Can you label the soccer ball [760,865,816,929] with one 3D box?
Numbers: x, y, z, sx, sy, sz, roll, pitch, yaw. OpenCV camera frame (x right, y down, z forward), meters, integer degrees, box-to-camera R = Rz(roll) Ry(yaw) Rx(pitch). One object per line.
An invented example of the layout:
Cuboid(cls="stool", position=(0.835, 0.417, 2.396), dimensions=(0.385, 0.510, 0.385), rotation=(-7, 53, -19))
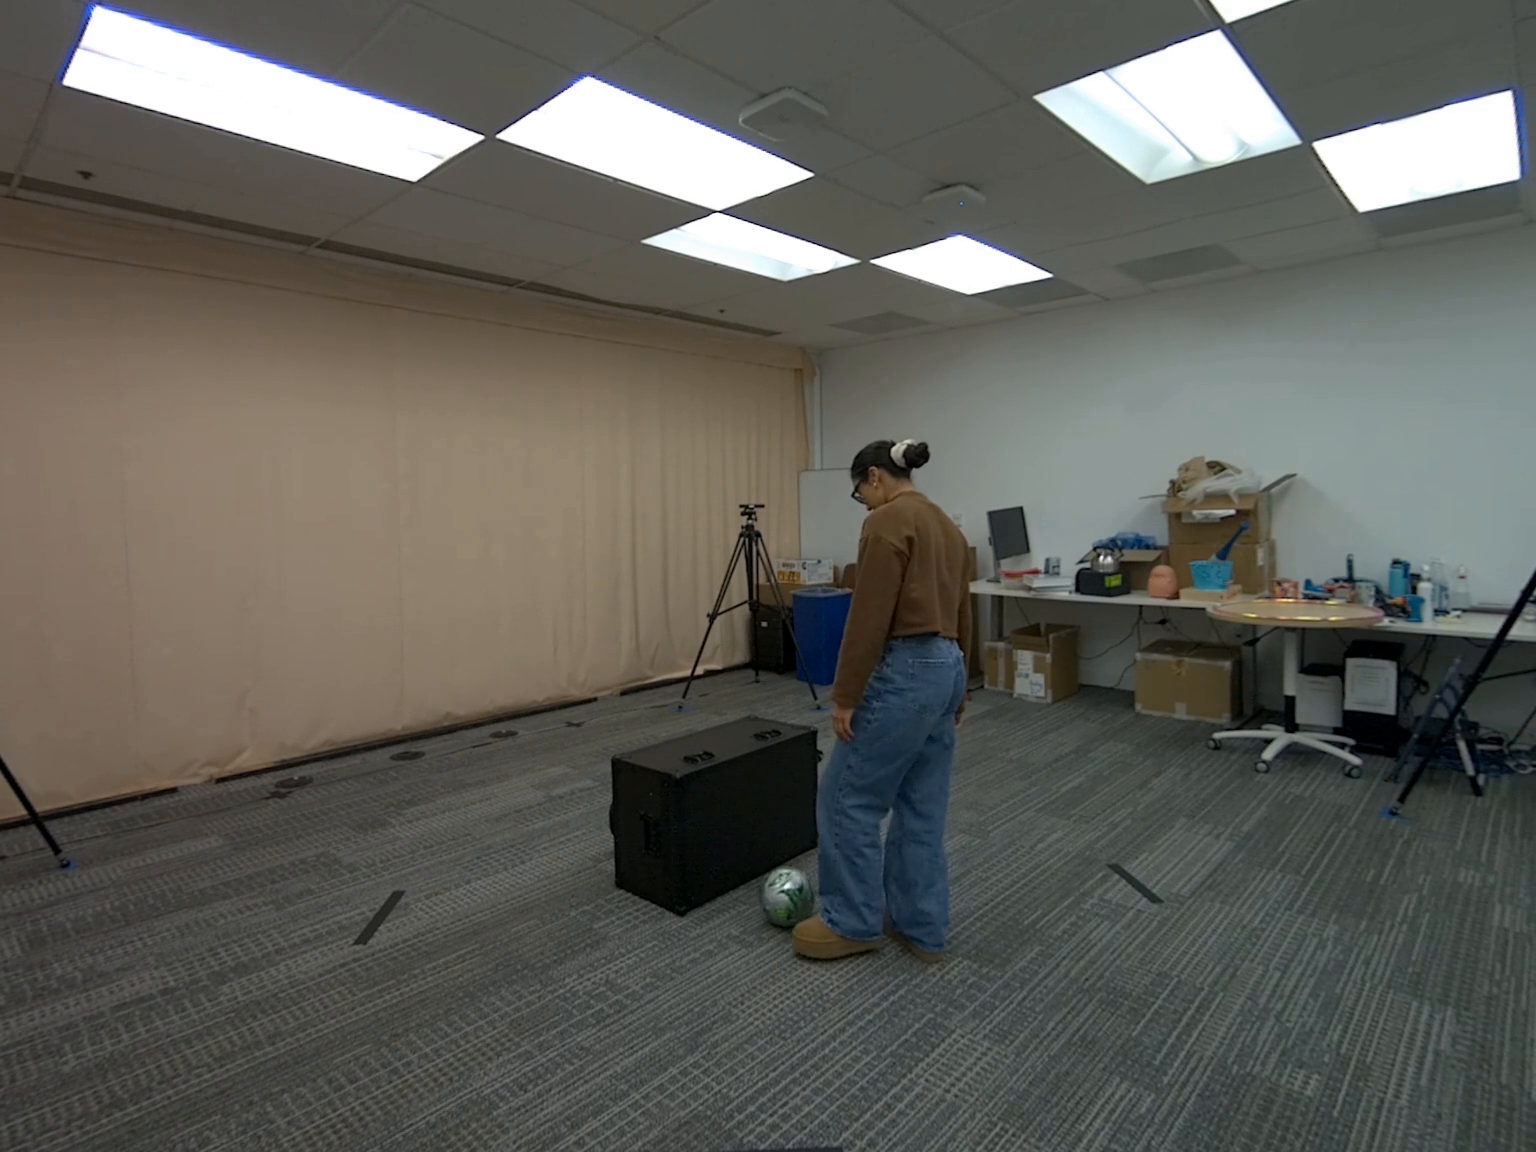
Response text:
Cuboid(cls="soccer ball", position=(0.055, 1.055, 2.804), dimensions=(0.187, 0.187, 0.188), rotation=(-1, 4, -2))
